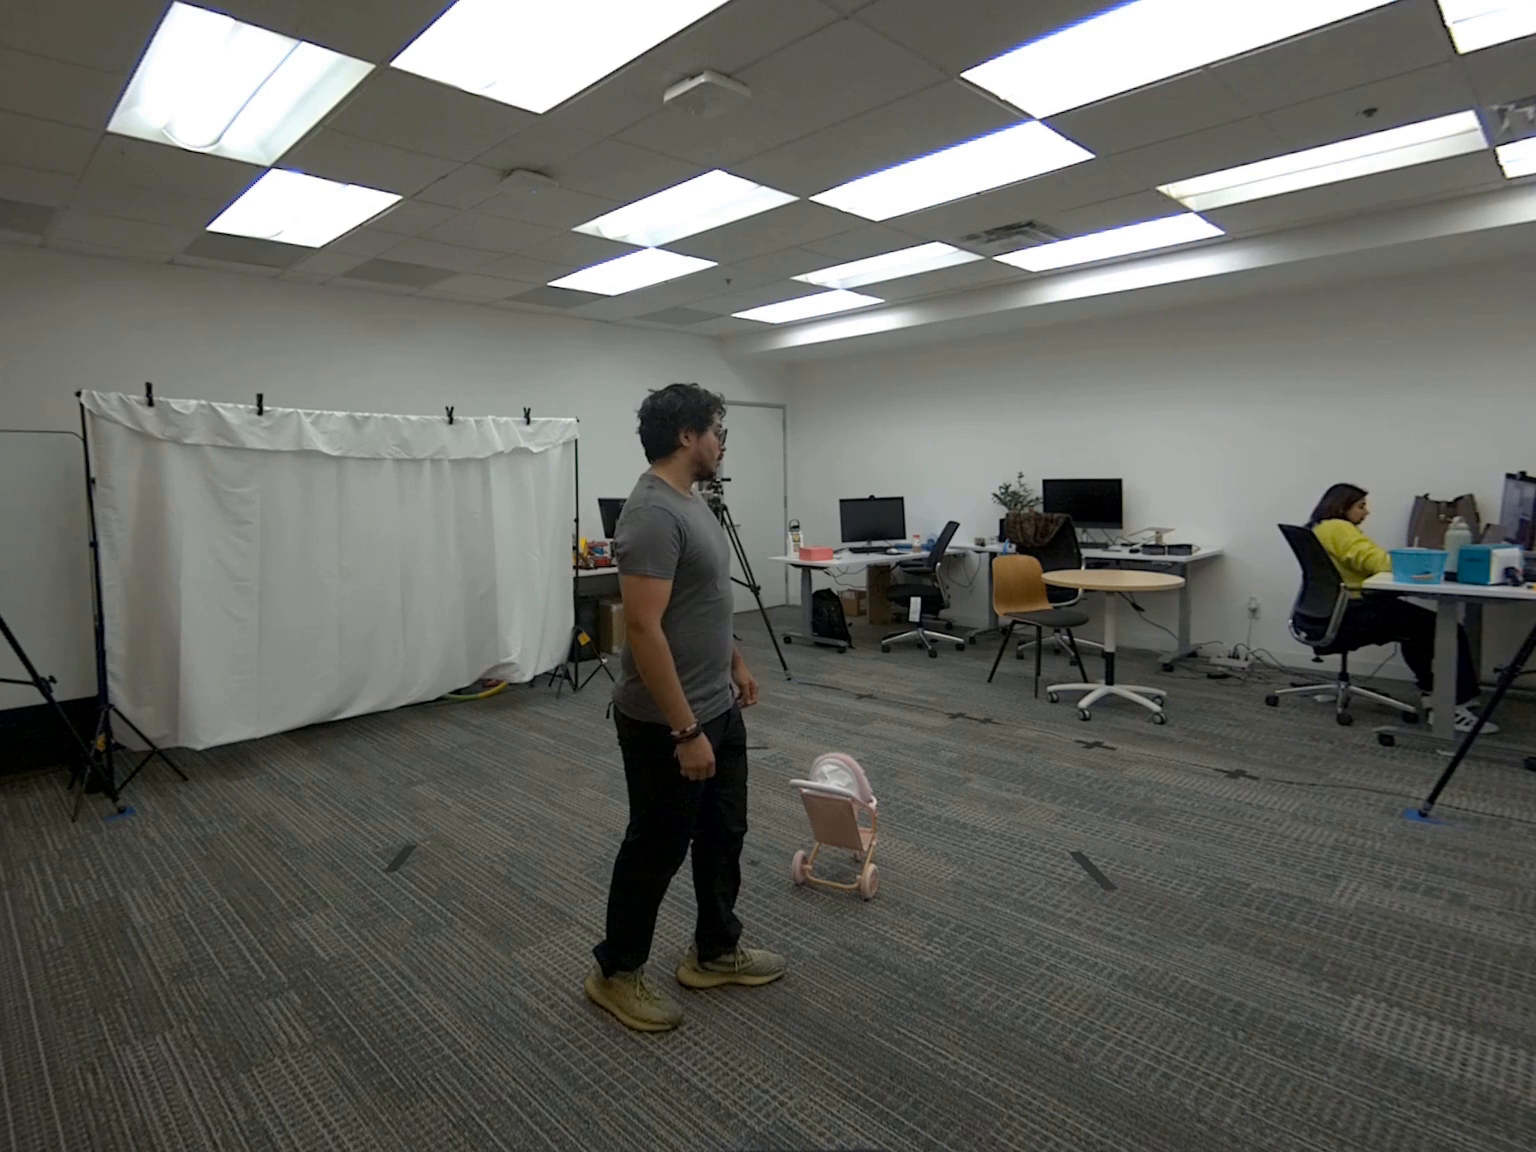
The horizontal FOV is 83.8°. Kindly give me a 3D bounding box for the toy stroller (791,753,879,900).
[{"bbox_3d":[0.254,0.838,2.930,0.289,0.525,0.339,2,23,30],"label":"toy stroller"}]
